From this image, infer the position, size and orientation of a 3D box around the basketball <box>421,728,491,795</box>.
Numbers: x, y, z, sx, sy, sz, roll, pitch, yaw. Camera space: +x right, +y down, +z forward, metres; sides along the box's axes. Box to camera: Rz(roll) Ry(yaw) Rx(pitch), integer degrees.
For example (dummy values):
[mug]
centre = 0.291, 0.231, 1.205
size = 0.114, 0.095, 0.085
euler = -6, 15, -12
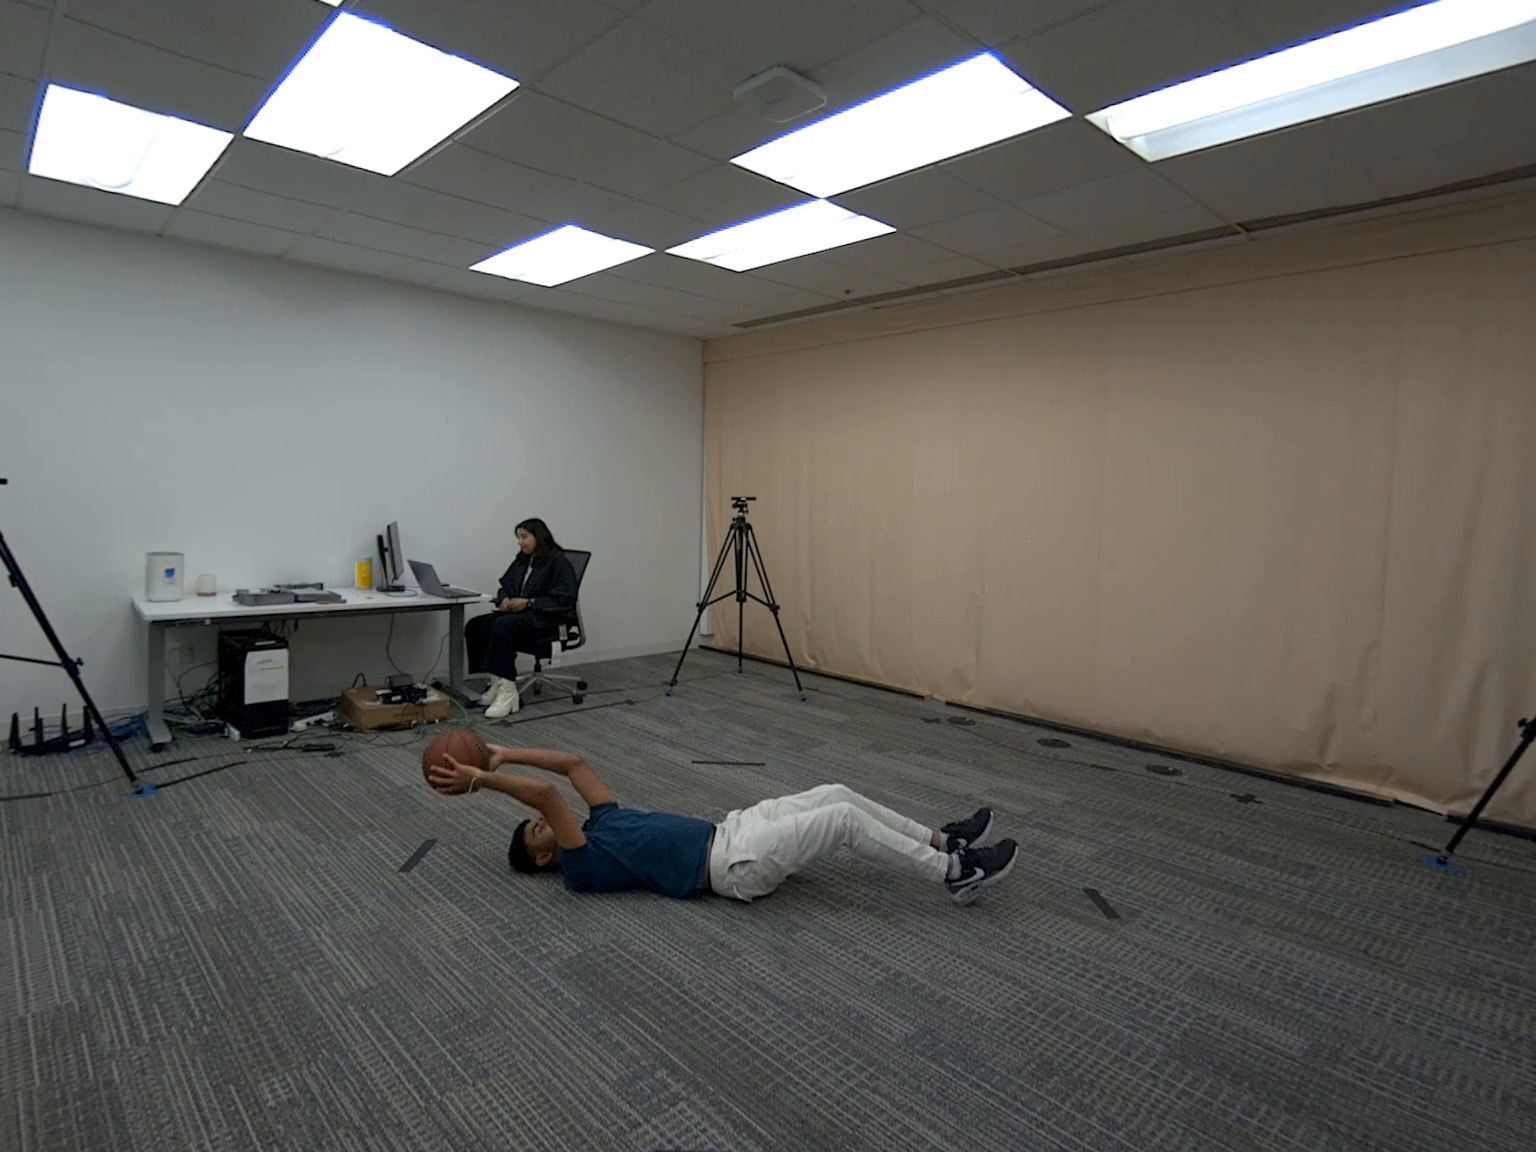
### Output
[basketball]
centre = -1.153, 0.686, 3.109
size = 0.236, 0.235, 0.237
euler = 1, 4, -1
